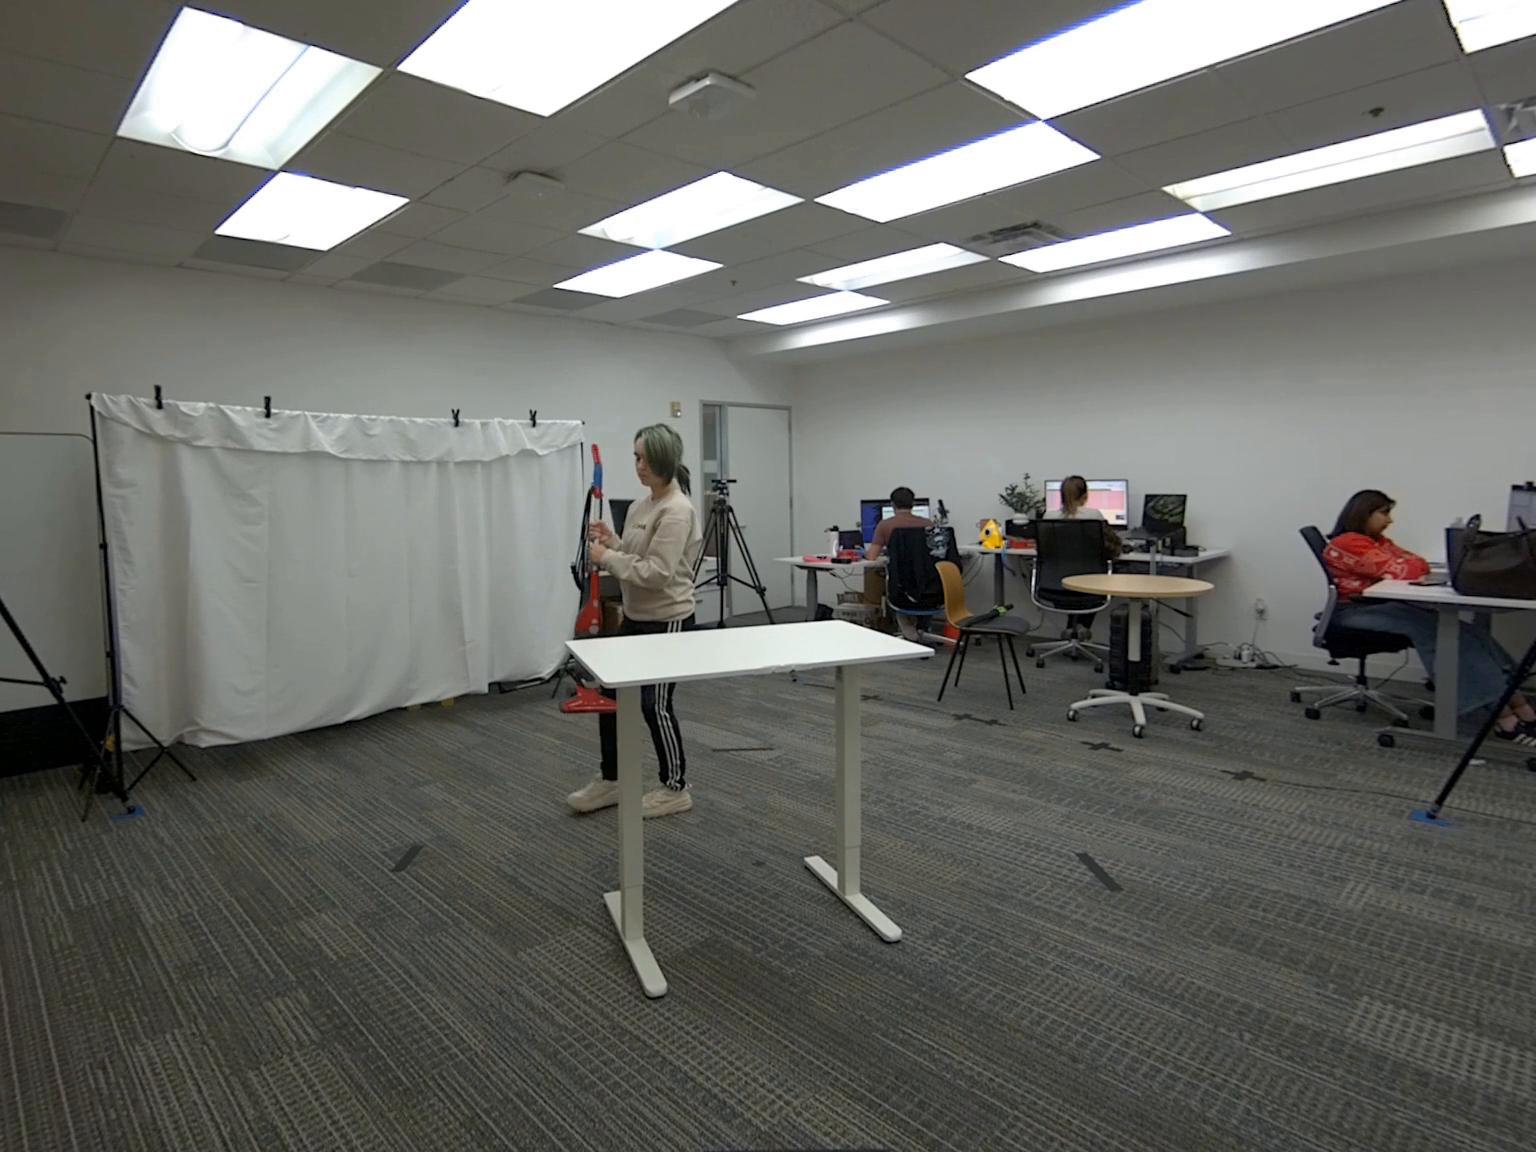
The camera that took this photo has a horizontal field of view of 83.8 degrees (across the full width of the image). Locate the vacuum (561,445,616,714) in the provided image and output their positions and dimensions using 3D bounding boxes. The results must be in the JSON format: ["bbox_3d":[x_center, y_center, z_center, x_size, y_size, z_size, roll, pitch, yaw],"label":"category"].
[{"bbox_3d":[-0.726,-0.018,3.473,0.245,1.059,0.147,4,-11,-33],"label":"vacuum"}]
